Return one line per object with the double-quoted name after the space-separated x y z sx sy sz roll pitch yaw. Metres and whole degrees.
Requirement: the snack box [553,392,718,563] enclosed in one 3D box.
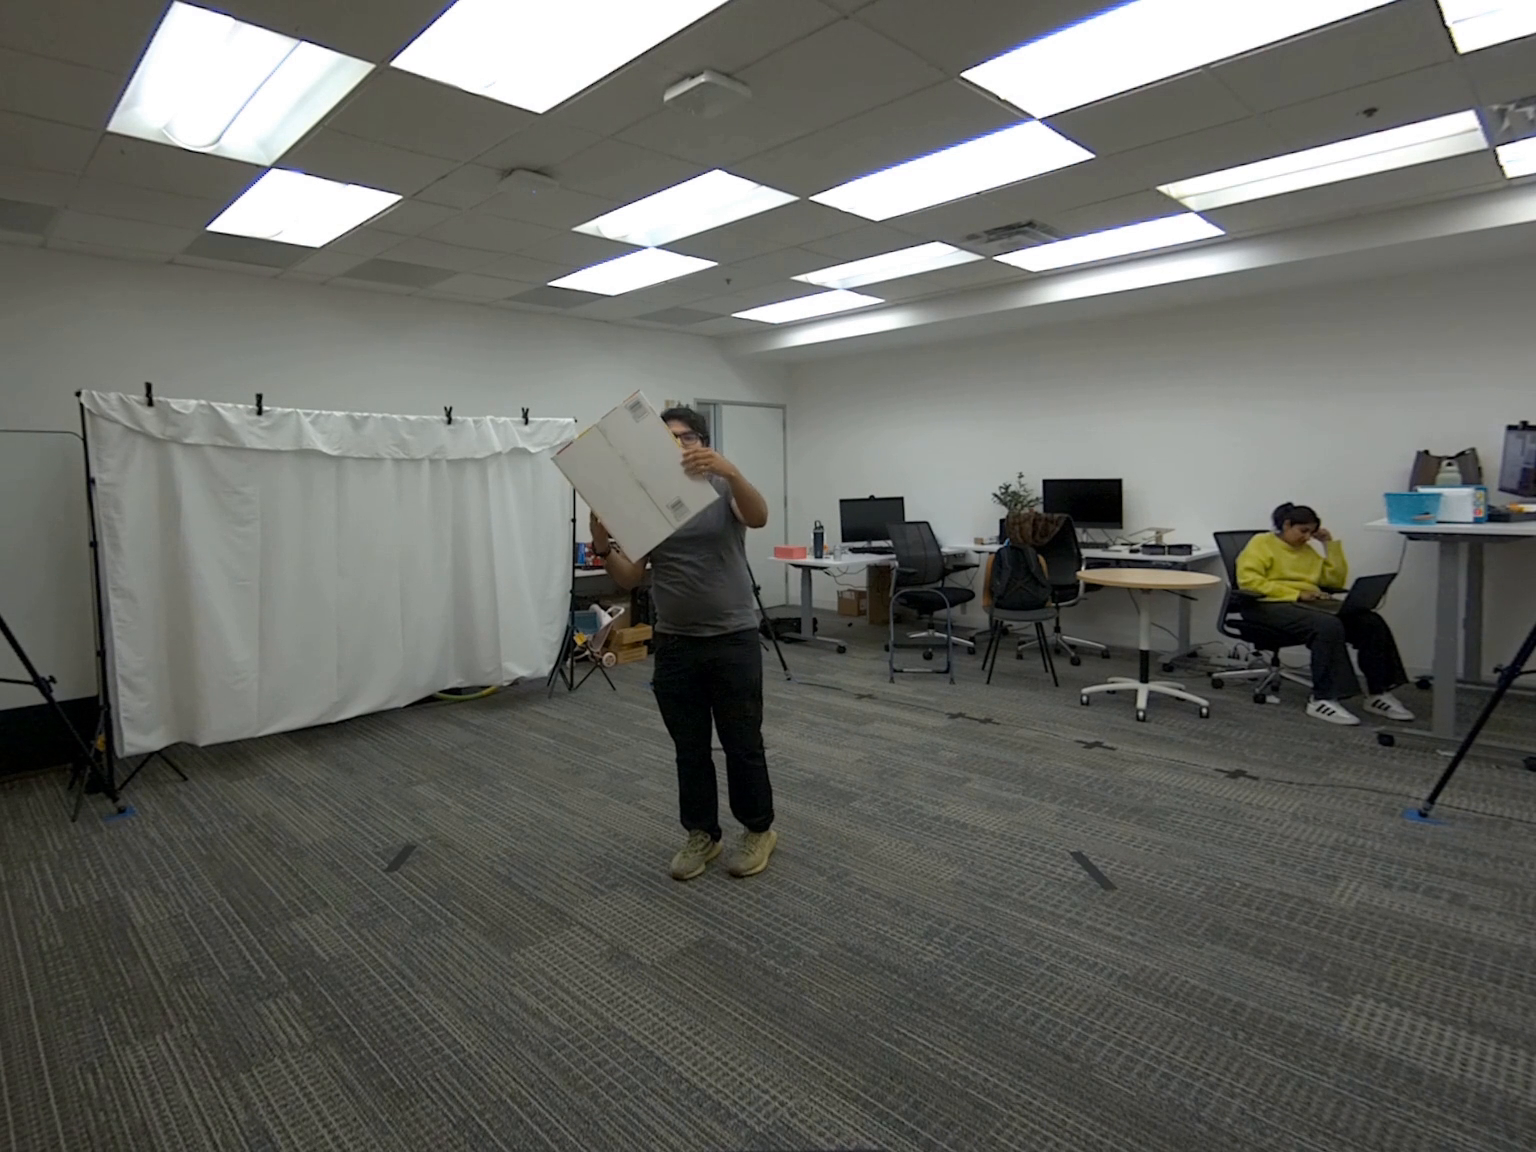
-0.405 -0.307 2.660 0.340 0.402 0.207 -38 6 -1 "snack box"
